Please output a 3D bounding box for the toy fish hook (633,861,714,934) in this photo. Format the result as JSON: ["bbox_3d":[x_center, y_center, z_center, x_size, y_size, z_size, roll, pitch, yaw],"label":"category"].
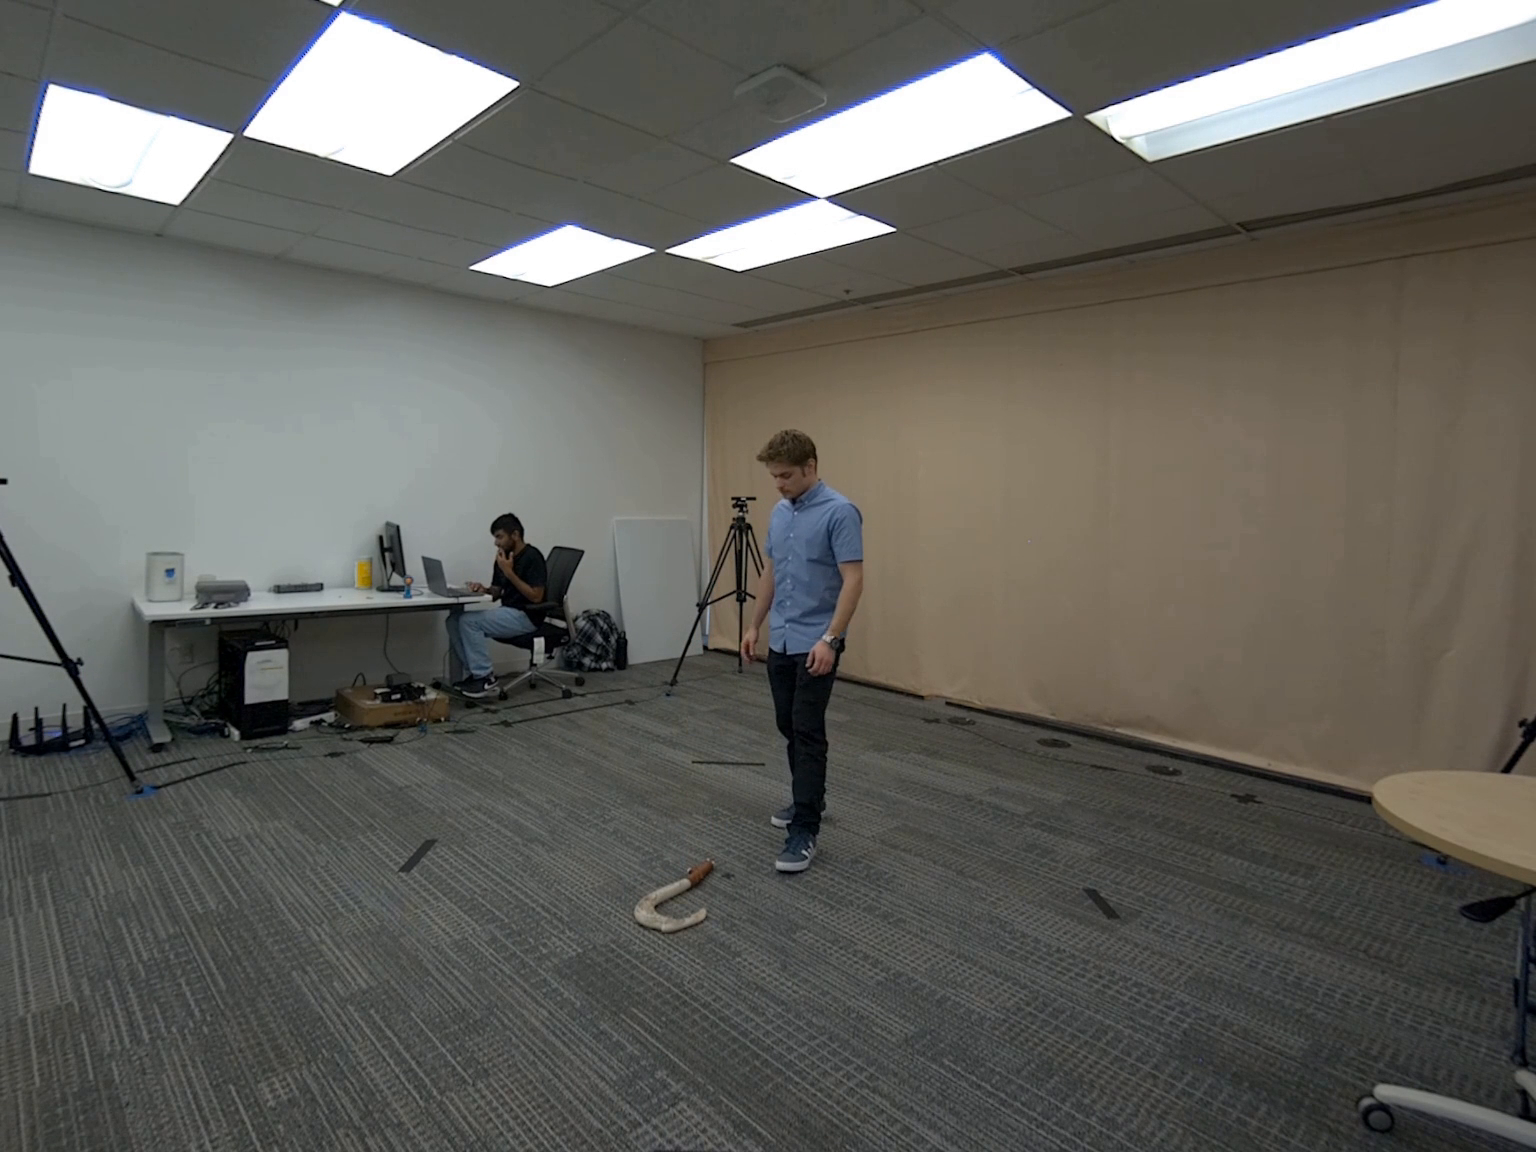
[{"bbox_3d":[-0.273,1.107,2.918,0.229,0.048,0.499,12,10,23],"label":"toy fish hook"}]
